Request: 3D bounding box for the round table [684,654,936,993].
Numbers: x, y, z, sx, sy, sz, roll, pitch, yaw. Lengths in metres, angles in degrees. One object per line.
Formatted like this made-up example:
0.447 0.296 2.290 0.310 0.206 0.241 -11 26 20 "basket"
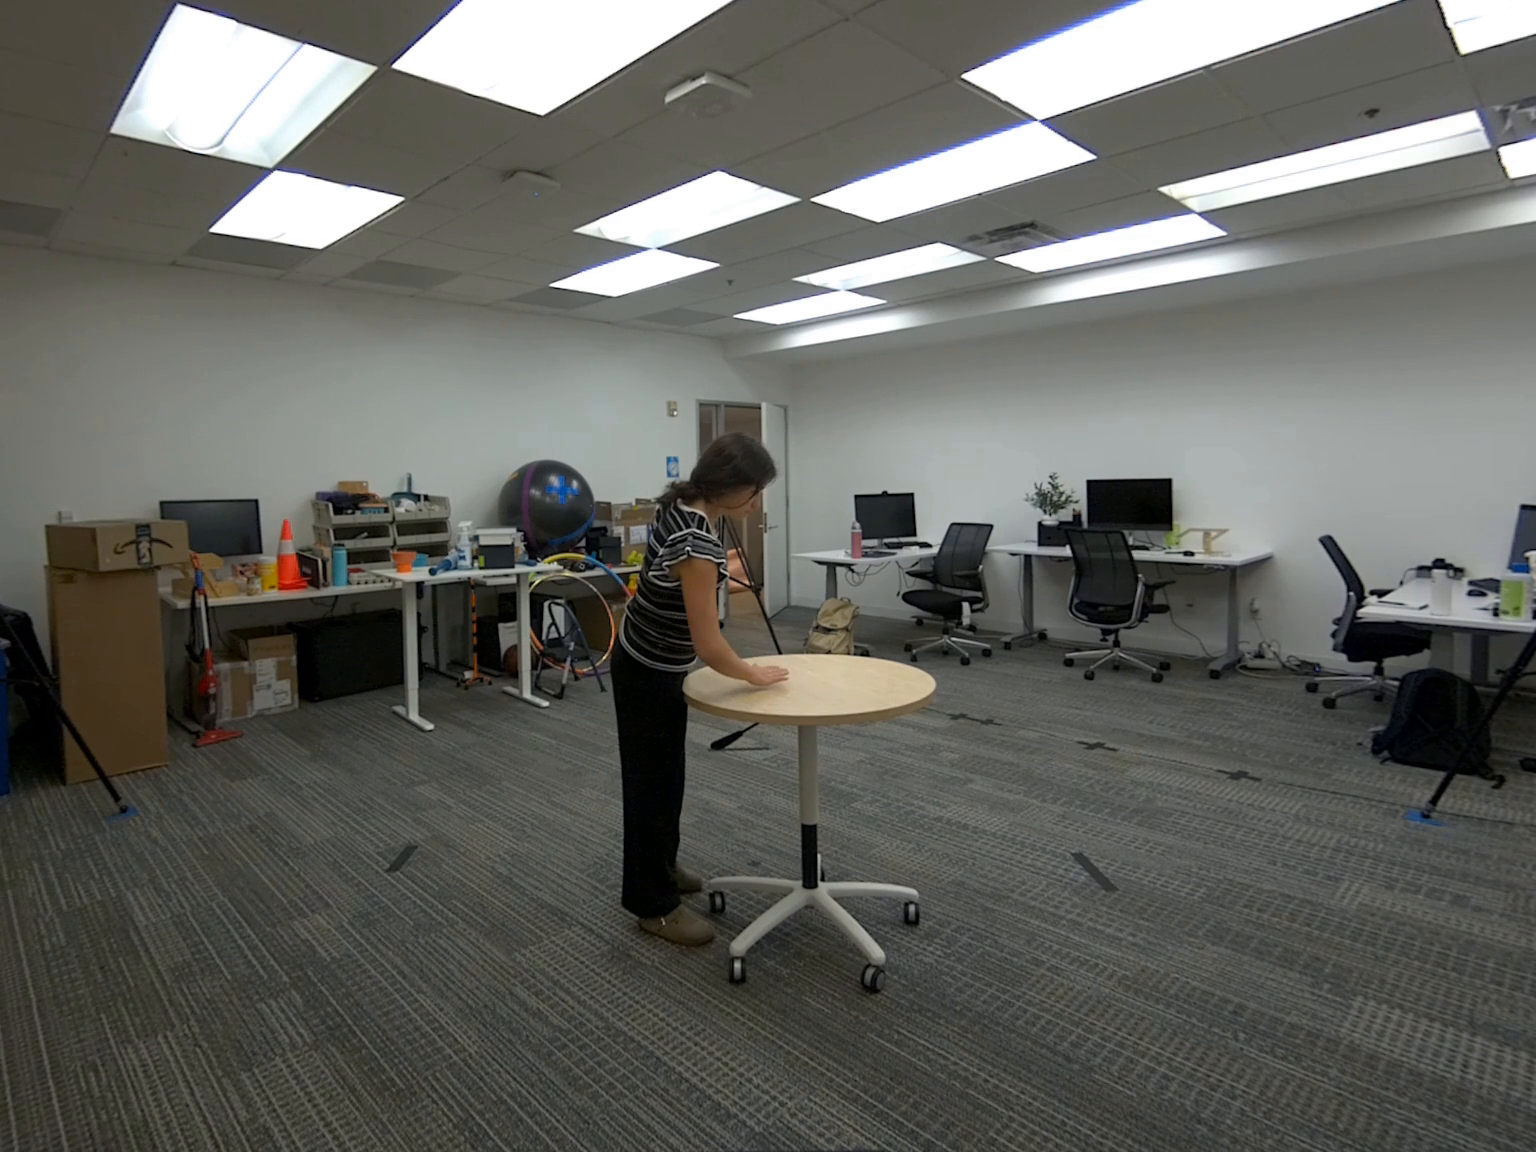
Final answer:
0.134 0.708 2.616 0.763 0.791 0.768 -2 5 -2 "round table"
